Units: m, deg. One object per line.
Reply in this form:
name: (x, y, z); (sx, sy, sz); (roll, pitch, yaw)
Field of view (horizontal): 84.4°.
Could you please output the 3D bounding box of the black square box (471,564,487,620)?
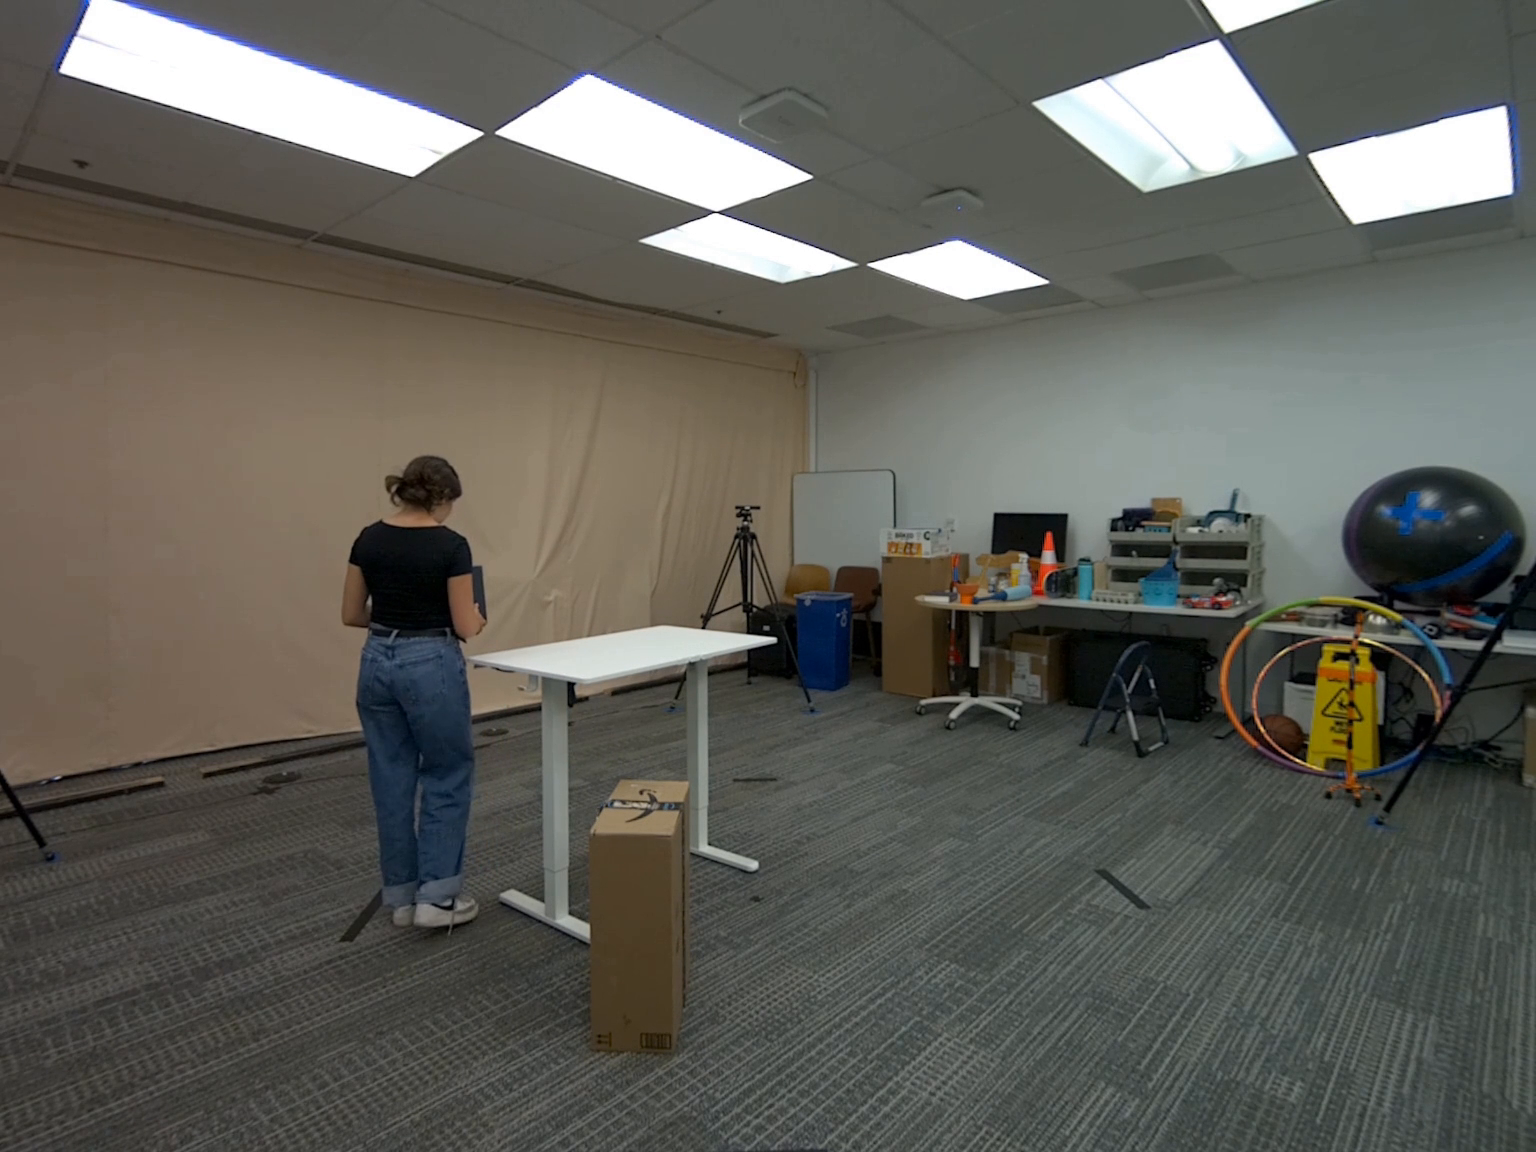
black square box: (-1.212, 0.085, 3.116); (0.219, 0.226, 0.155); (-2, 9, 8)
